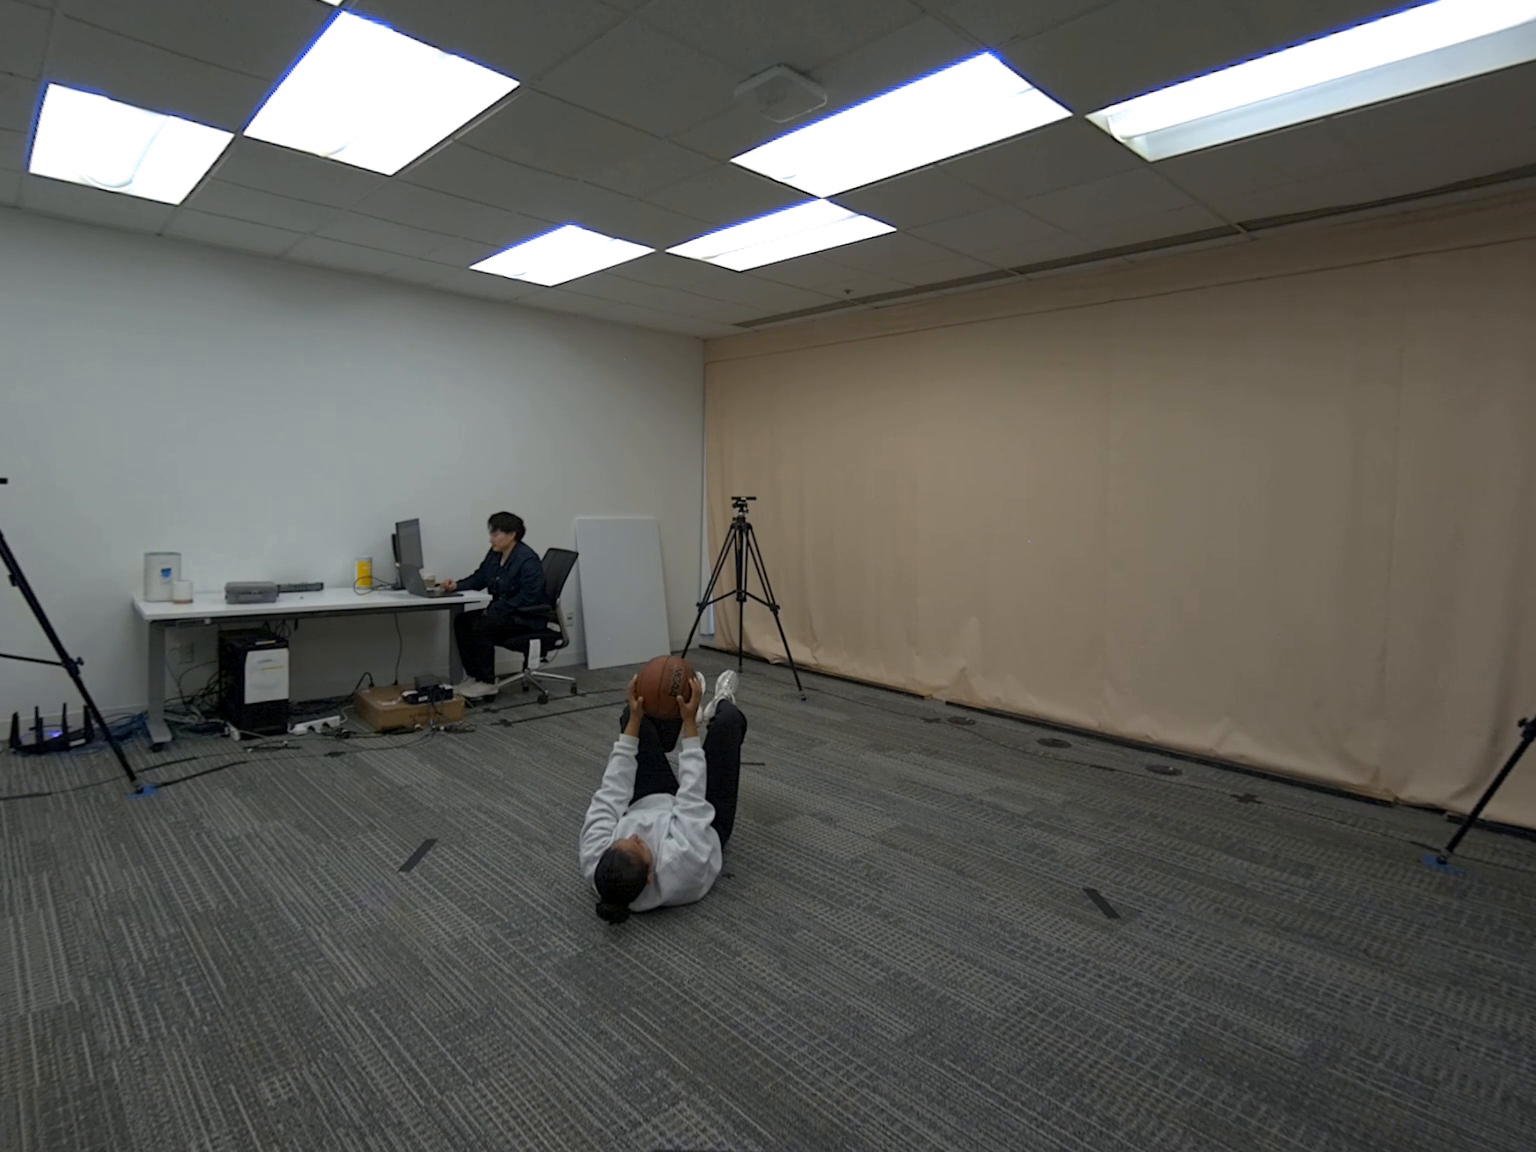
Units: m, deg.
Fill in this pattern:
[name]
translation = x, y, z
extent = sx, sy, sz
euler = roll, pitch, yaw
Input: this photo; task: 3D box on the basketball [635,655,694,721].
[basketball]
translation = -0.387, 0.420, 3.145
extent = 0.236, 0.235, 0.237
euler = 1, 5, -1
